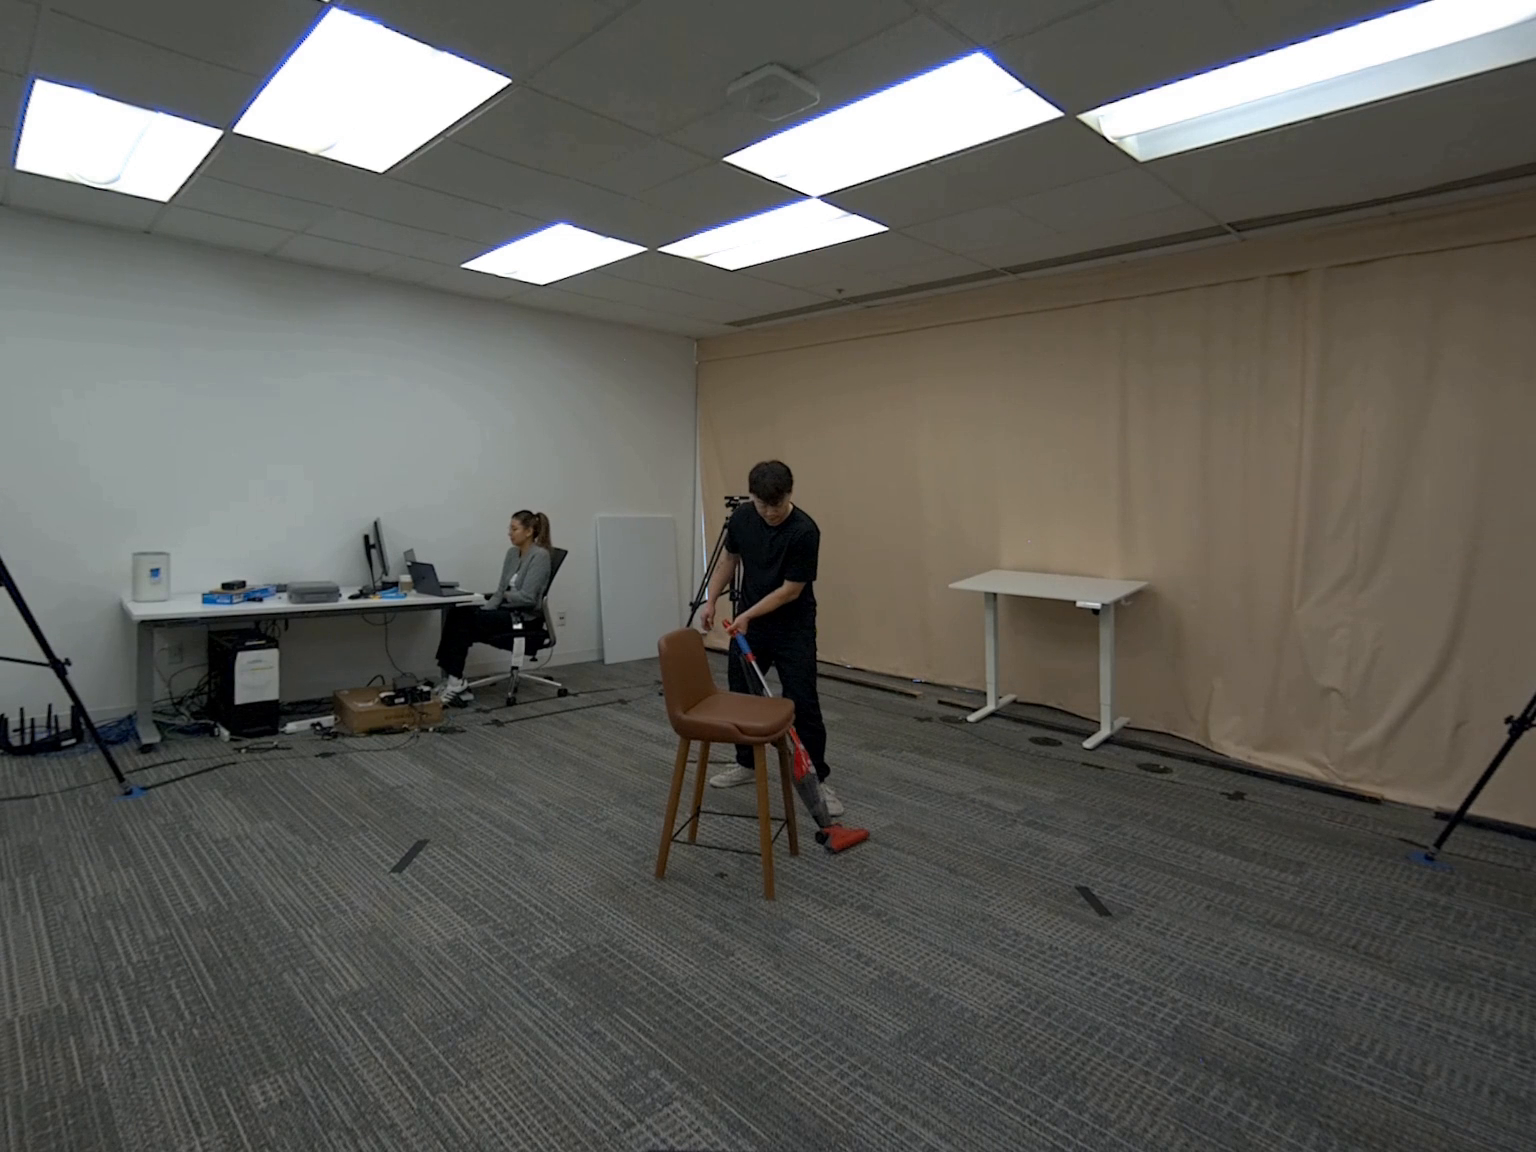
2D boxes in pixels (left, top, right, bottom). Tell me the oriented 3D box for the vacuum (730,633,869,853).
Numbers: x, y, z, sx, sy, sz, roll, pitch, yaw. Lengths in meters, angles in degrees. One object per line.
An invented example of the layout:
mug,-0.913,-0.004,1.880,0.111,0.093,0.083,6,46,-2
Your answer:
vacuum,0.045,0.651,3.639,0.246,1.074,0.144,1,-39,-49
